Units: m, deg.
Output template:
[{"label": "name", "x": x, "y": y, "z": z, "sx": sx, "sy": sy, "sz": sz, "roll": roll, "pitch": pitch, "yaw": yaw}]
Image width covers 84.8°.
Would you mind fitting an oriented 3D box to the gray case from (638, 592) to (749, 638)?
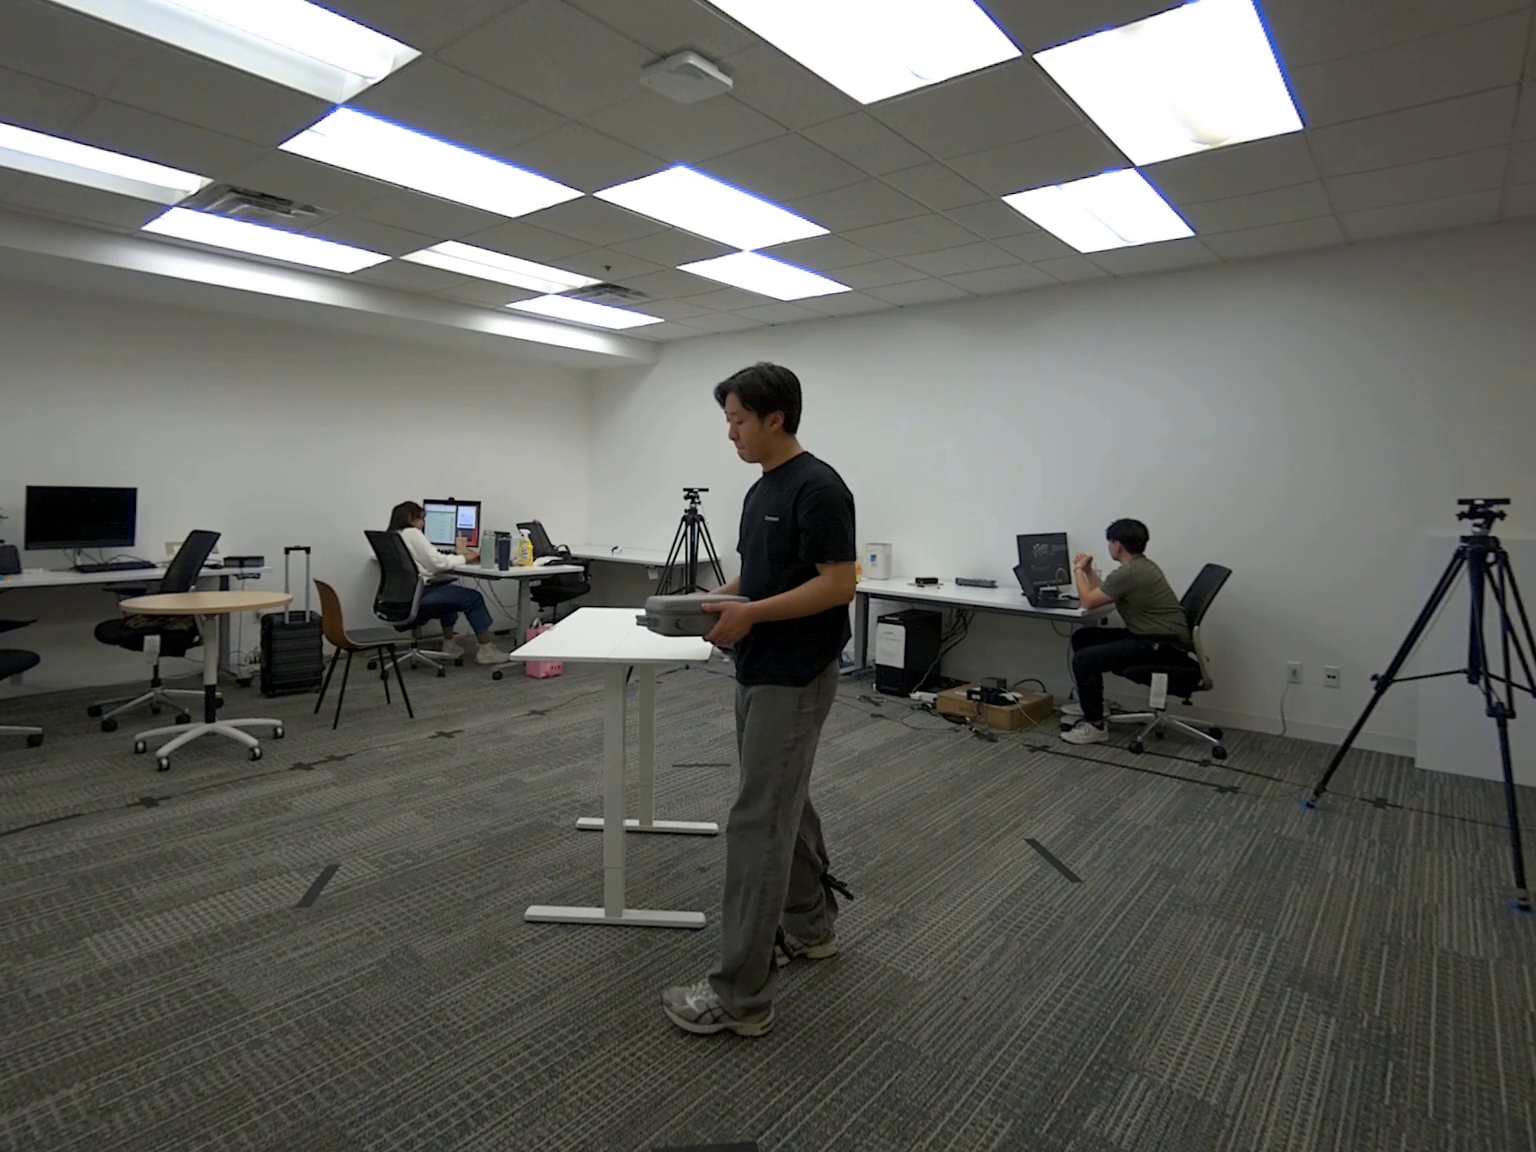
[{"label": "gray case", "x": -0.217, "y": 0.105, "z": 2.342, "sx": 0.282, "sy": 0.103, "sz": 0.268, "roll": -1, "pitch": 1, "yaw": -19}]
